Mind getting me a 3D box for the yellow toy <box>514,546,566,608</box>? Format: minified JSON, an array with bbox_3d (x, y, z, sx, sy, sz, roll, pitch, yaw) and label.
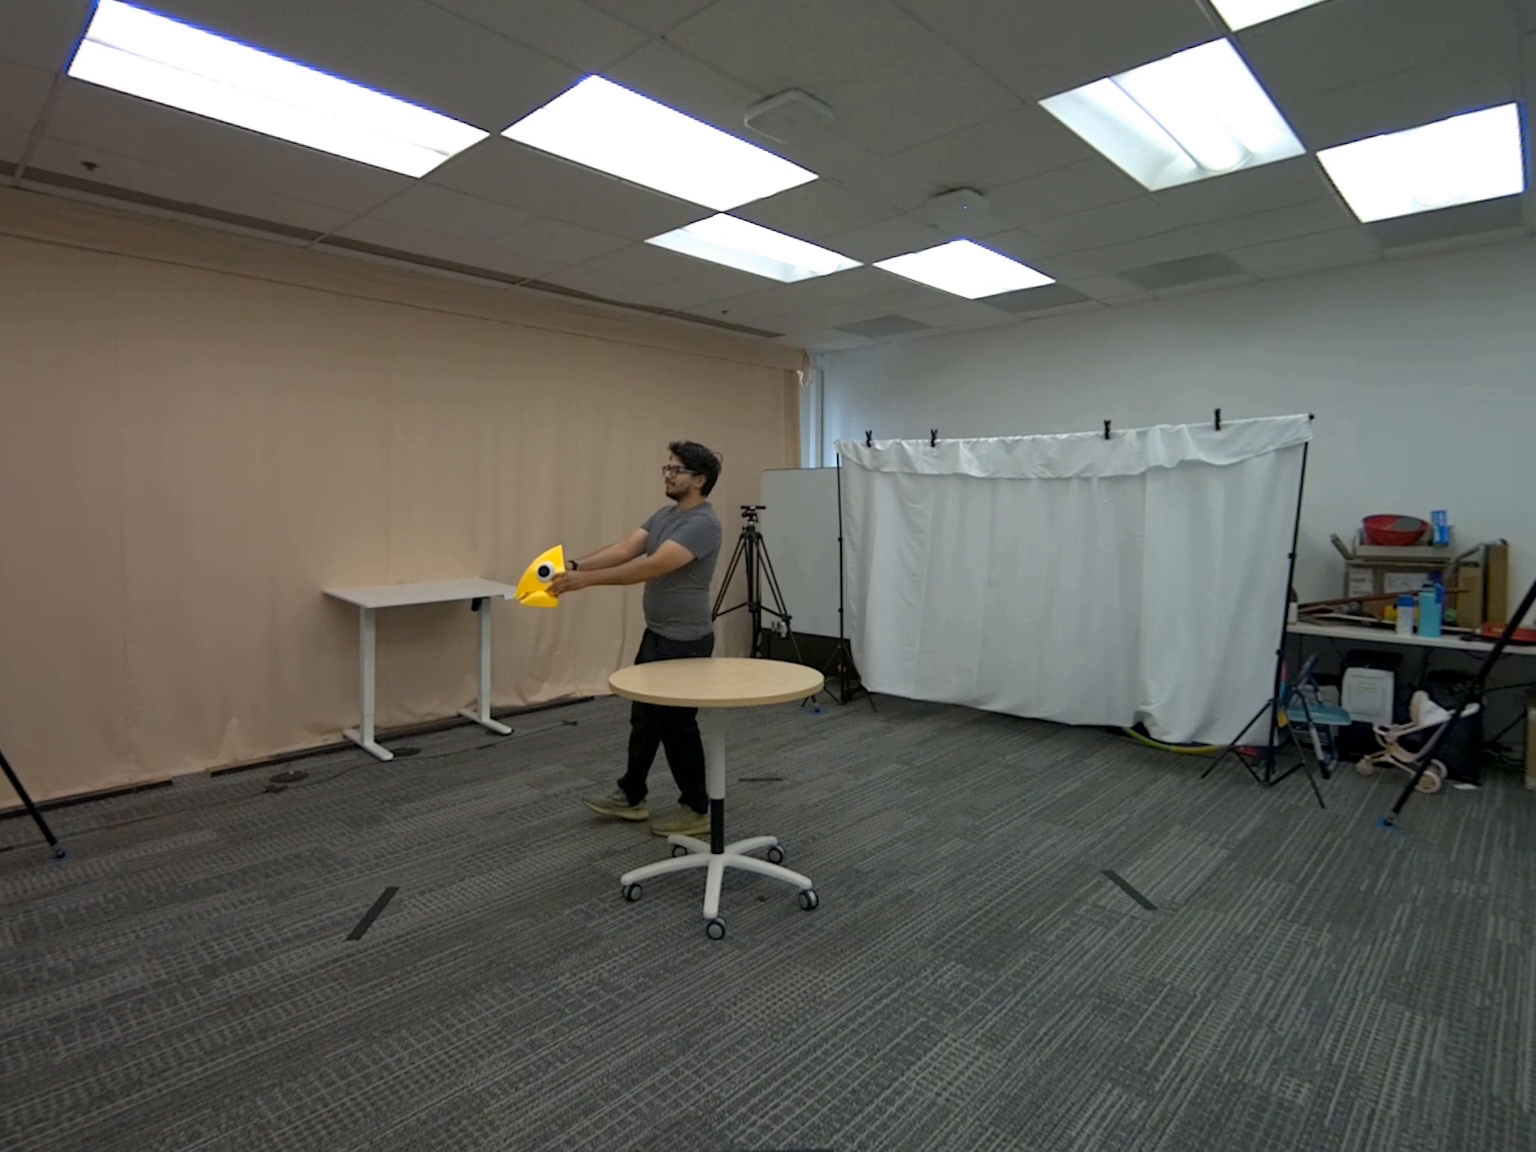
[{"bbox_3d":[-0.888,-0.014,3.299,0.188,0.230,0.211,4,6,-29],"label":"yellow toy"}]
